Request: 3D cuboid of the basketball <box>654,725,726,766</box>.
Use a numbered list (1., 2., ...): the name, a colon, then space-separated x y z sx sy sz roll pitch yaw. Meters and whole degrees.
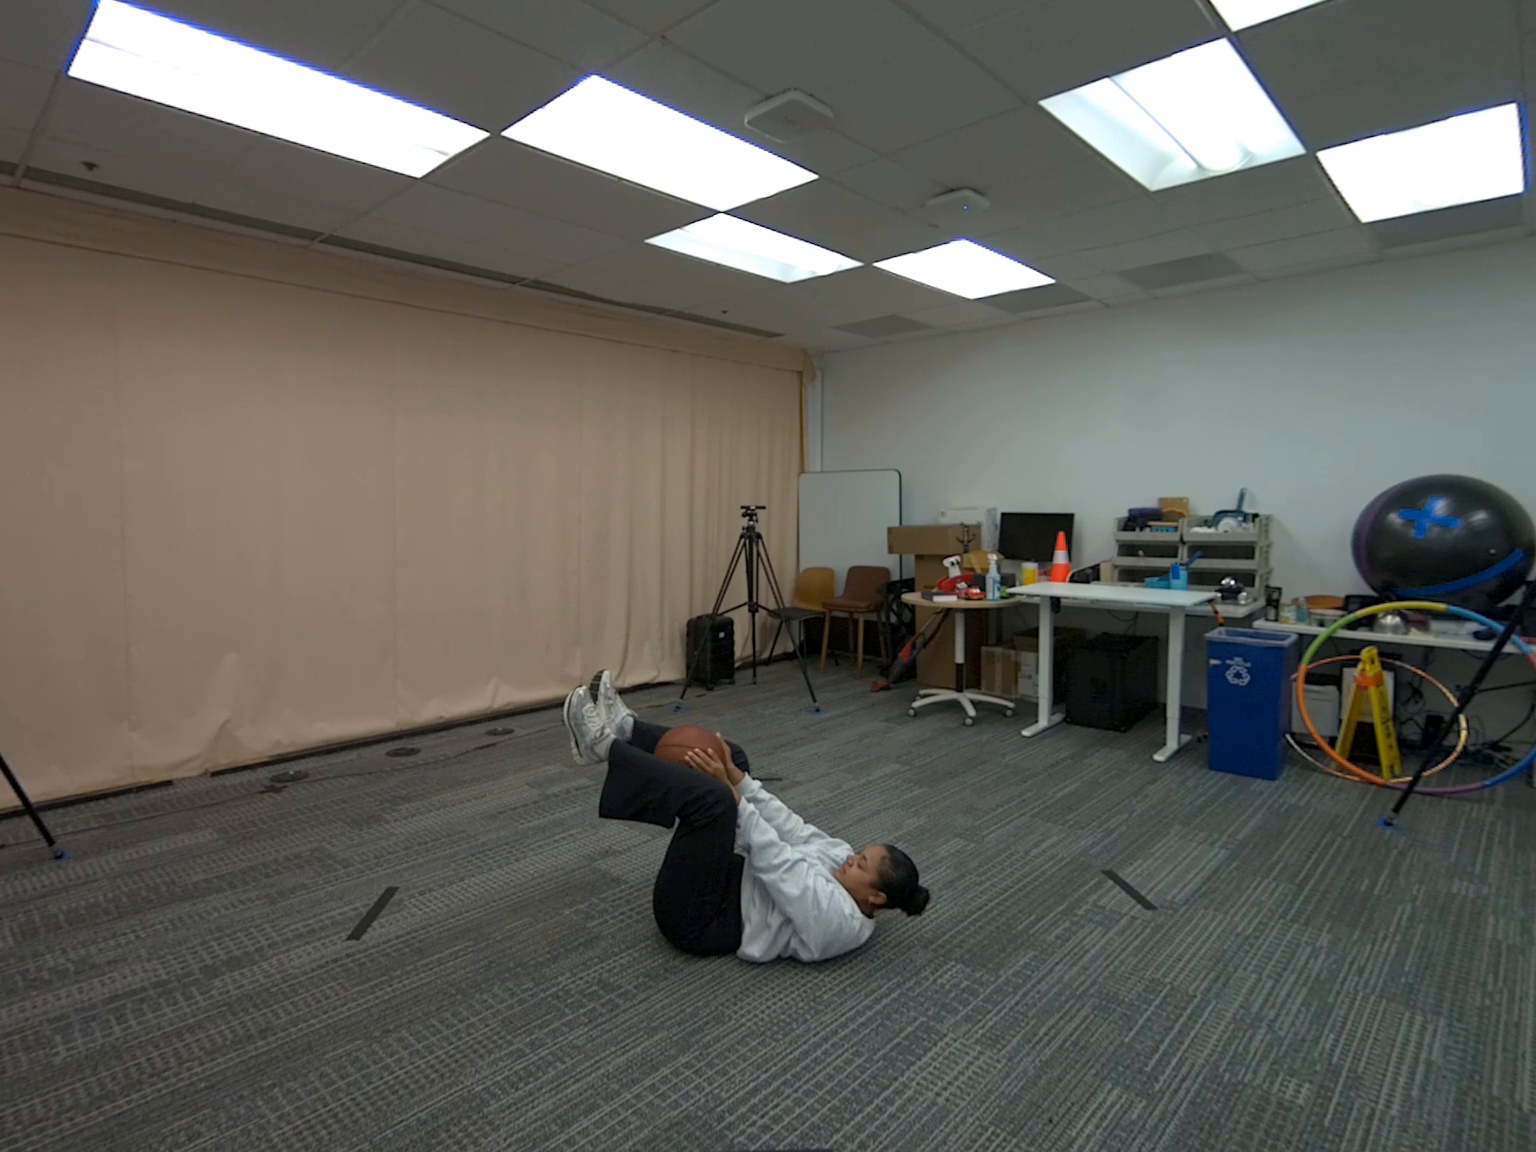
1. basketball: -0.251 0.599 2.710 0.235 0.235 0.237 1 4 -2
